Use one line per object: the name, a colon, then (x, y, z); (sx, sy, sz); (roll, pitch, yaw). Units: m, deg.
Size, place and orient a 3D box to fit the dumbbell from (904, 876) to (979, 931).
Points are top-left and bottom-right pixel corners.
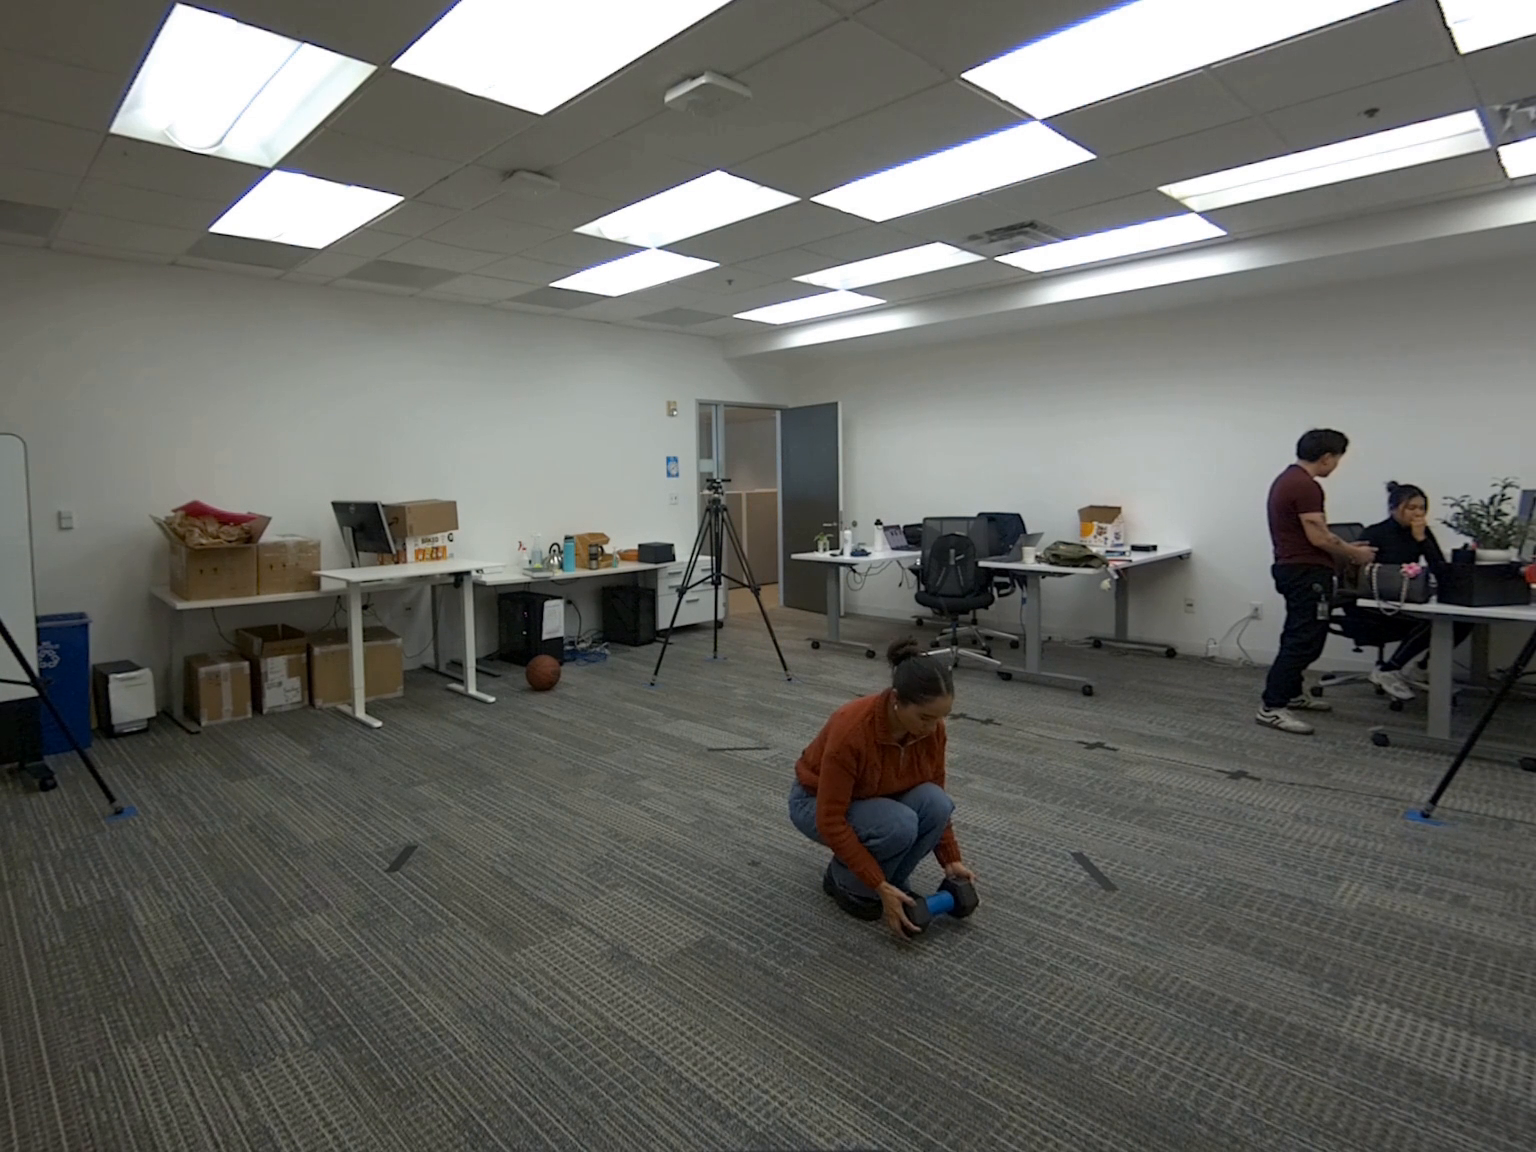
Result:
dumbbell: (0.507, 0.998, 2.596); (0.286, 0.125, 0.109); (-2, -22, -32)
